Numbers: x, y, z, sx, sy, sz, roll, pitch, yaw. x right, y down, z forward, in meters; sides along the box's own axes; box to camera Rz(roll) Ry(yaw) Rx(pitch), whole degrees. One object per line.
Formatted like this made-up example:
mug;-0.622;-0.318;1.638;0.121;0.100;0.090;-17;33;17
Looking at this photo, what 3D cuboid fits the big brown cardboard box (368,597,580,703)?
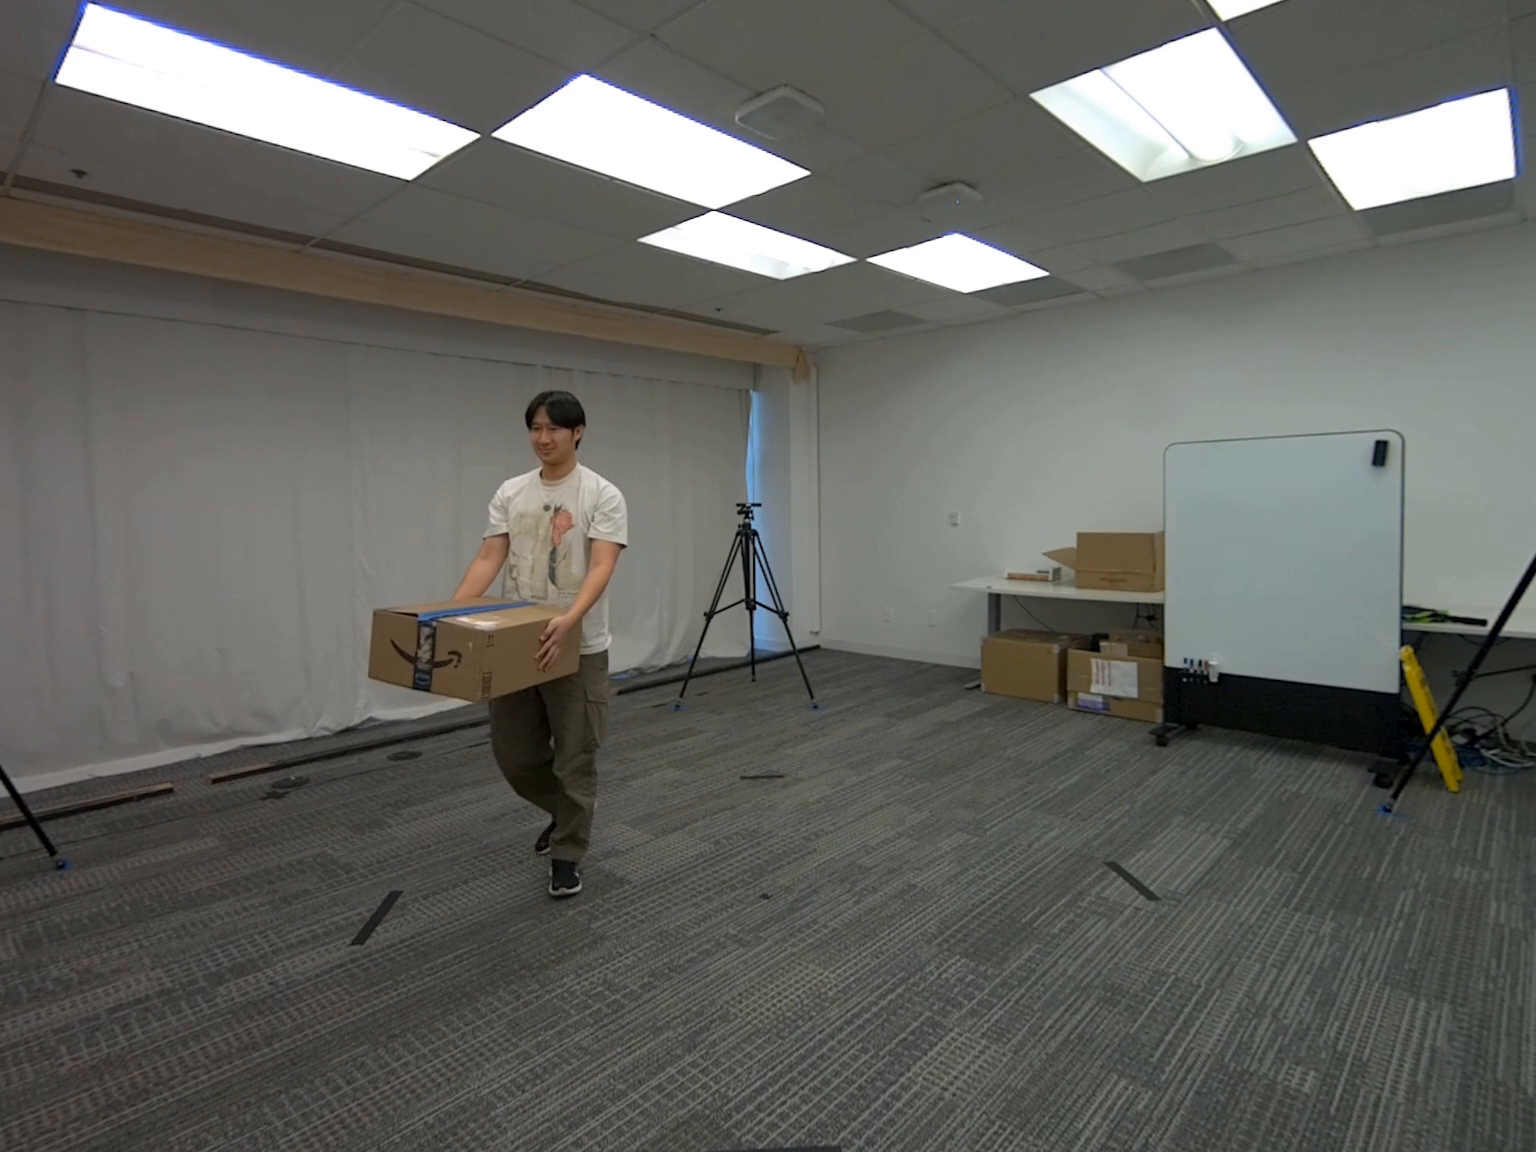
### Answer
big brown cardboard box;-0.928;0.218;2.753;0.427;0.233;0.577;7;4;19
